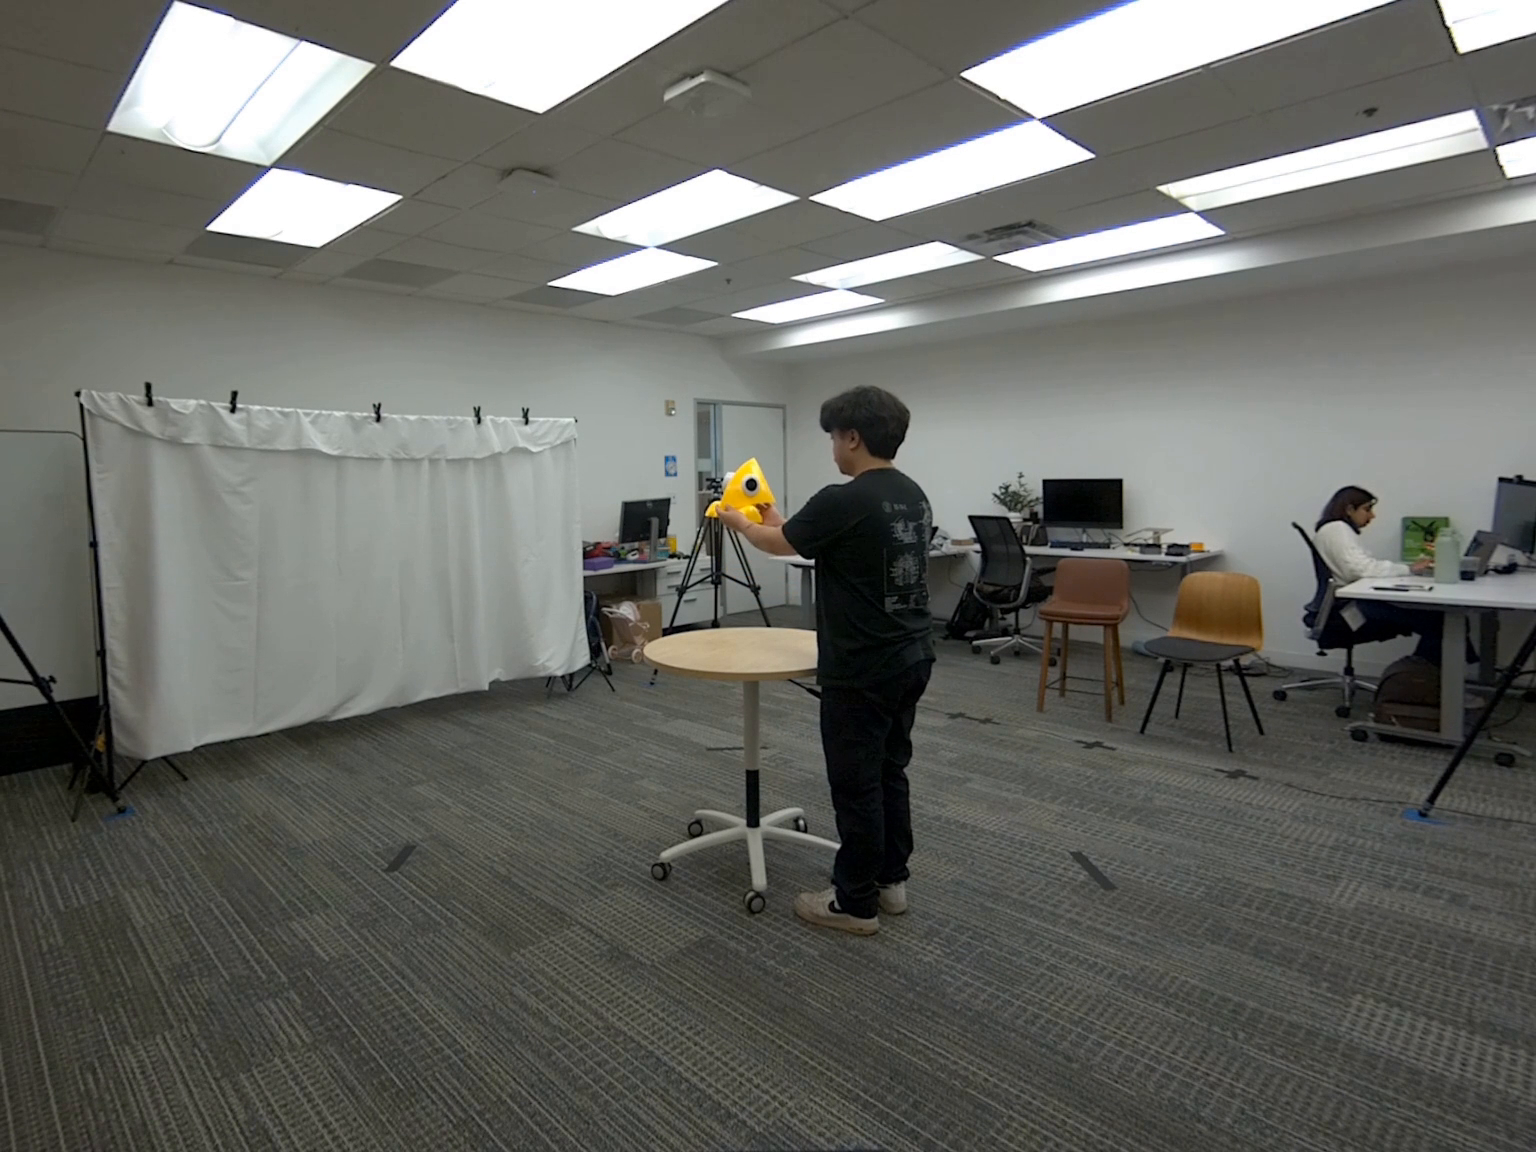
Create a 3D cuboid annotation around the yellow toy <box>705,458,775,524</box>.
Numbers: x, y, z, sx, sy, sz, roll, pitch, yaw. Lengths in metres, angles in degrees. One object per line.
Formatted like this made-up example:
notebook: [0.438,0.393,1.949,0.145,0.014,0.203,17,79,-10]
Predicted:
yellow toy: [-0.100,-0.319,3.089,0.212,0.230,0.187,11,6,40]
